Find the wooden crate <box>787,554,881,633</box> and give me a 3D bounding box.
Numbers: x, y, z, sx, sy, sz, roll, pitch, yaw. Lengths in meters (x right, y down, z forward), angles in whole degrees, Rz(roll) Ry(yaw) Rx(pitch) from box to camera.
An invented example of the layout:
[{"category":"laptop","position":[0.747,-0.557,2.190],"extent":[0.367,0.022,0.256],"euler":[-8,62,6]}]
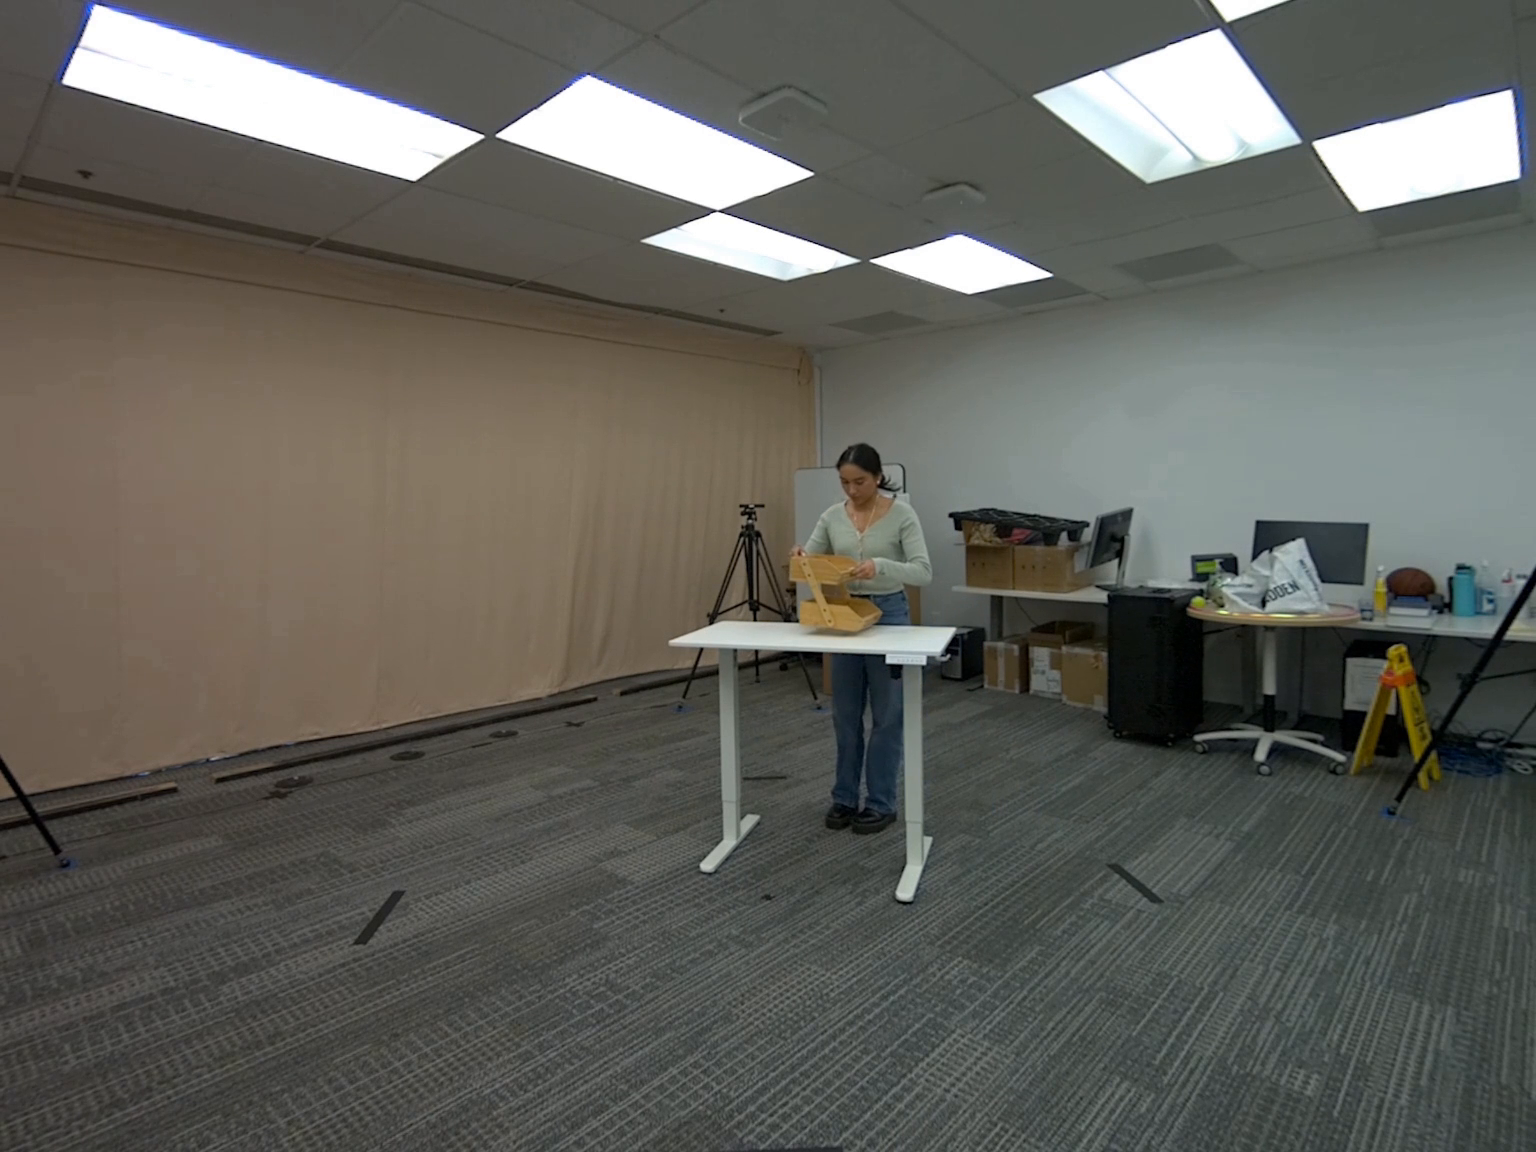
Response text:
[{"category":"wooden crate","position":[0.281,0.052,3.347],"extent":[0.309,0.273,0.317],"euler":[4,4,23]}]
